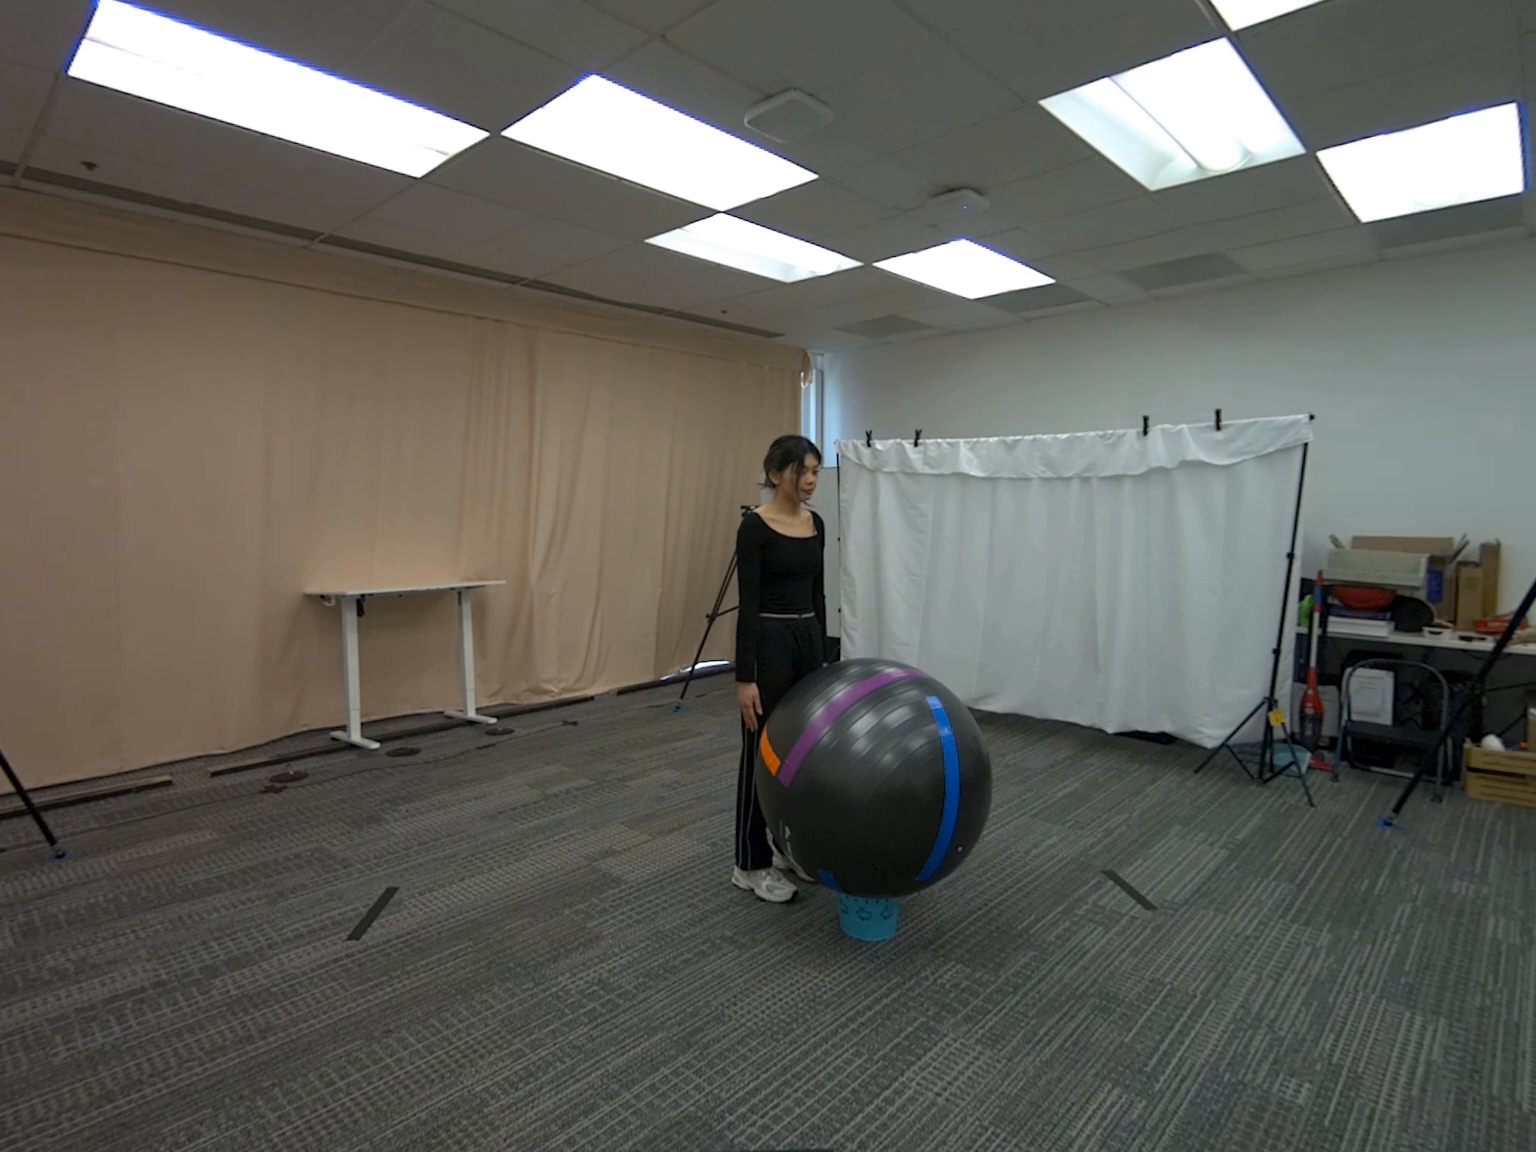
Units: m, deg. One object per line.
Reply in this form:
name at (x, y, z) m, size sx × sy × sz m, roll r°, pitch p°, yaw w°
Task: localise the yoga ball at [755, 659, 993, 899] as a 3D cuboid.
yoga ball at (0.344, 0.659, 2.763) m, size 0.757 × 0.756 × 0.760 m, roll 0°, pitch 4°, yaw -2°
